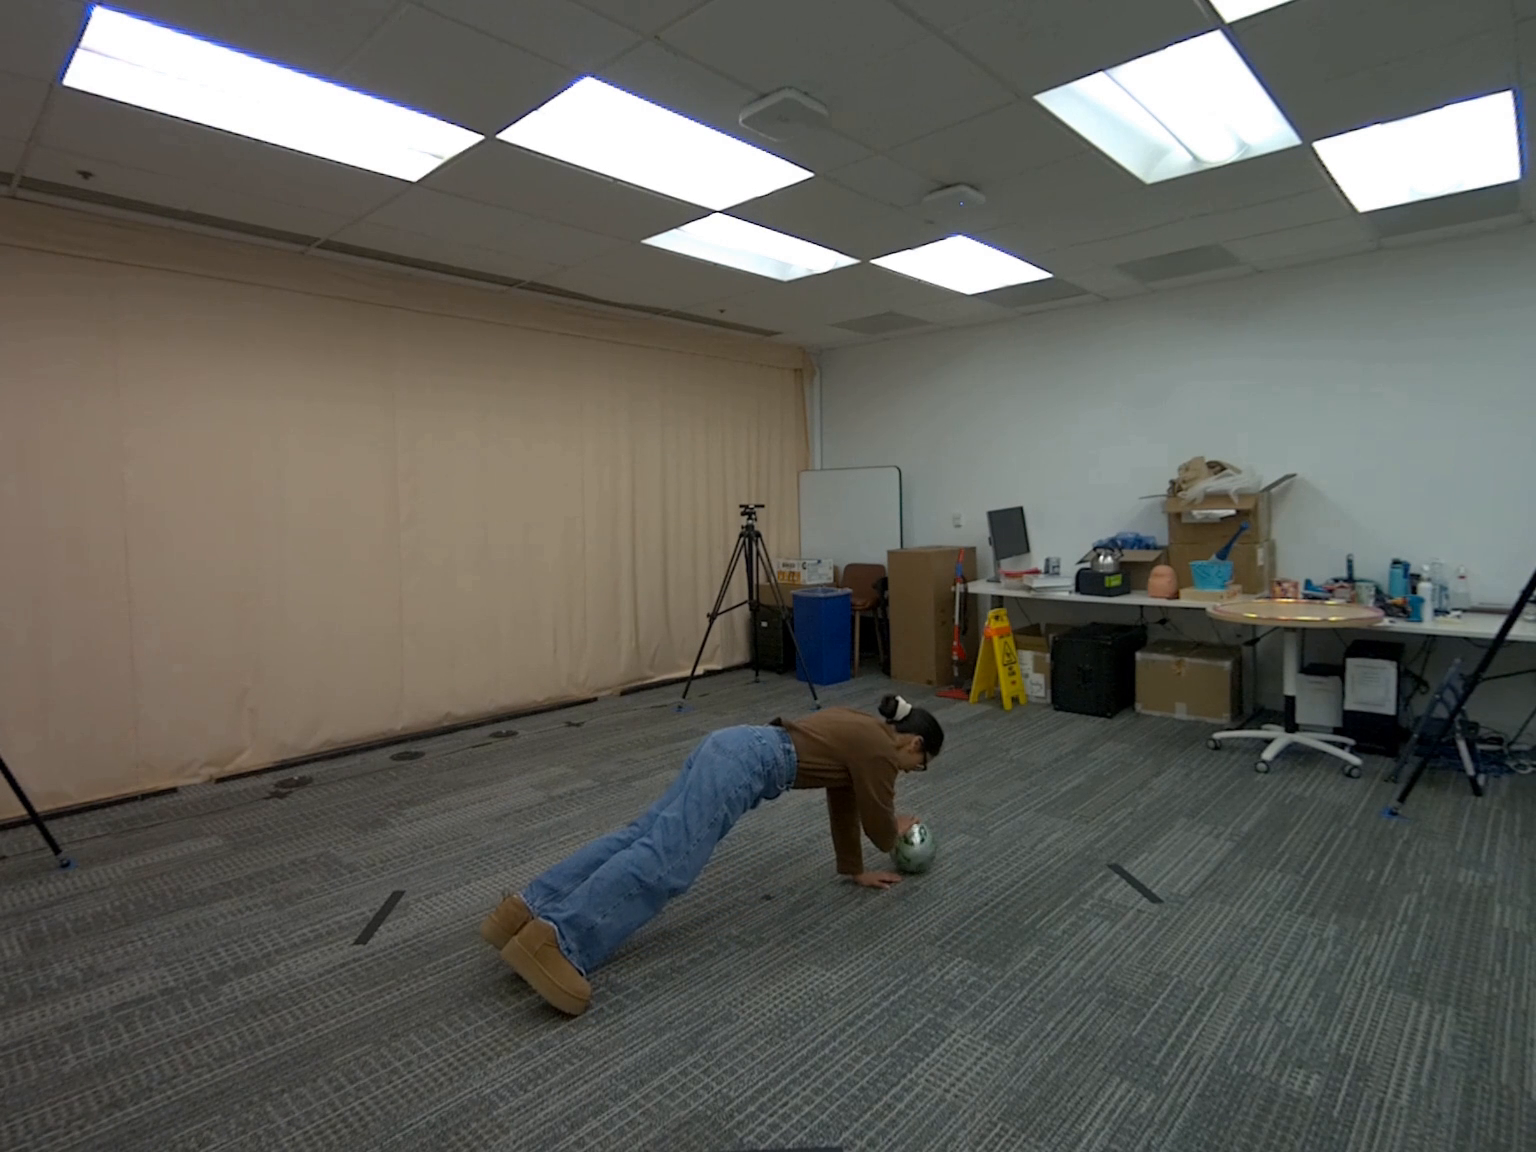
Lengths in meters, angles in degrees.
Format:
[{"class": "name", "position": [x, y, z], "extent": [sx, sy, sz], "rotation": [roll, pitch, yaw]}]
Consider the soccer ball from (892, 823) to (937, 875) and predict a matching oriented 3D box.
[{"class": "soccer ball", "position": [0.550, 1.023, 3.177], "extent": [0.187, 0.187, 0.188], "rotation": [-1, 4, -2]}]
